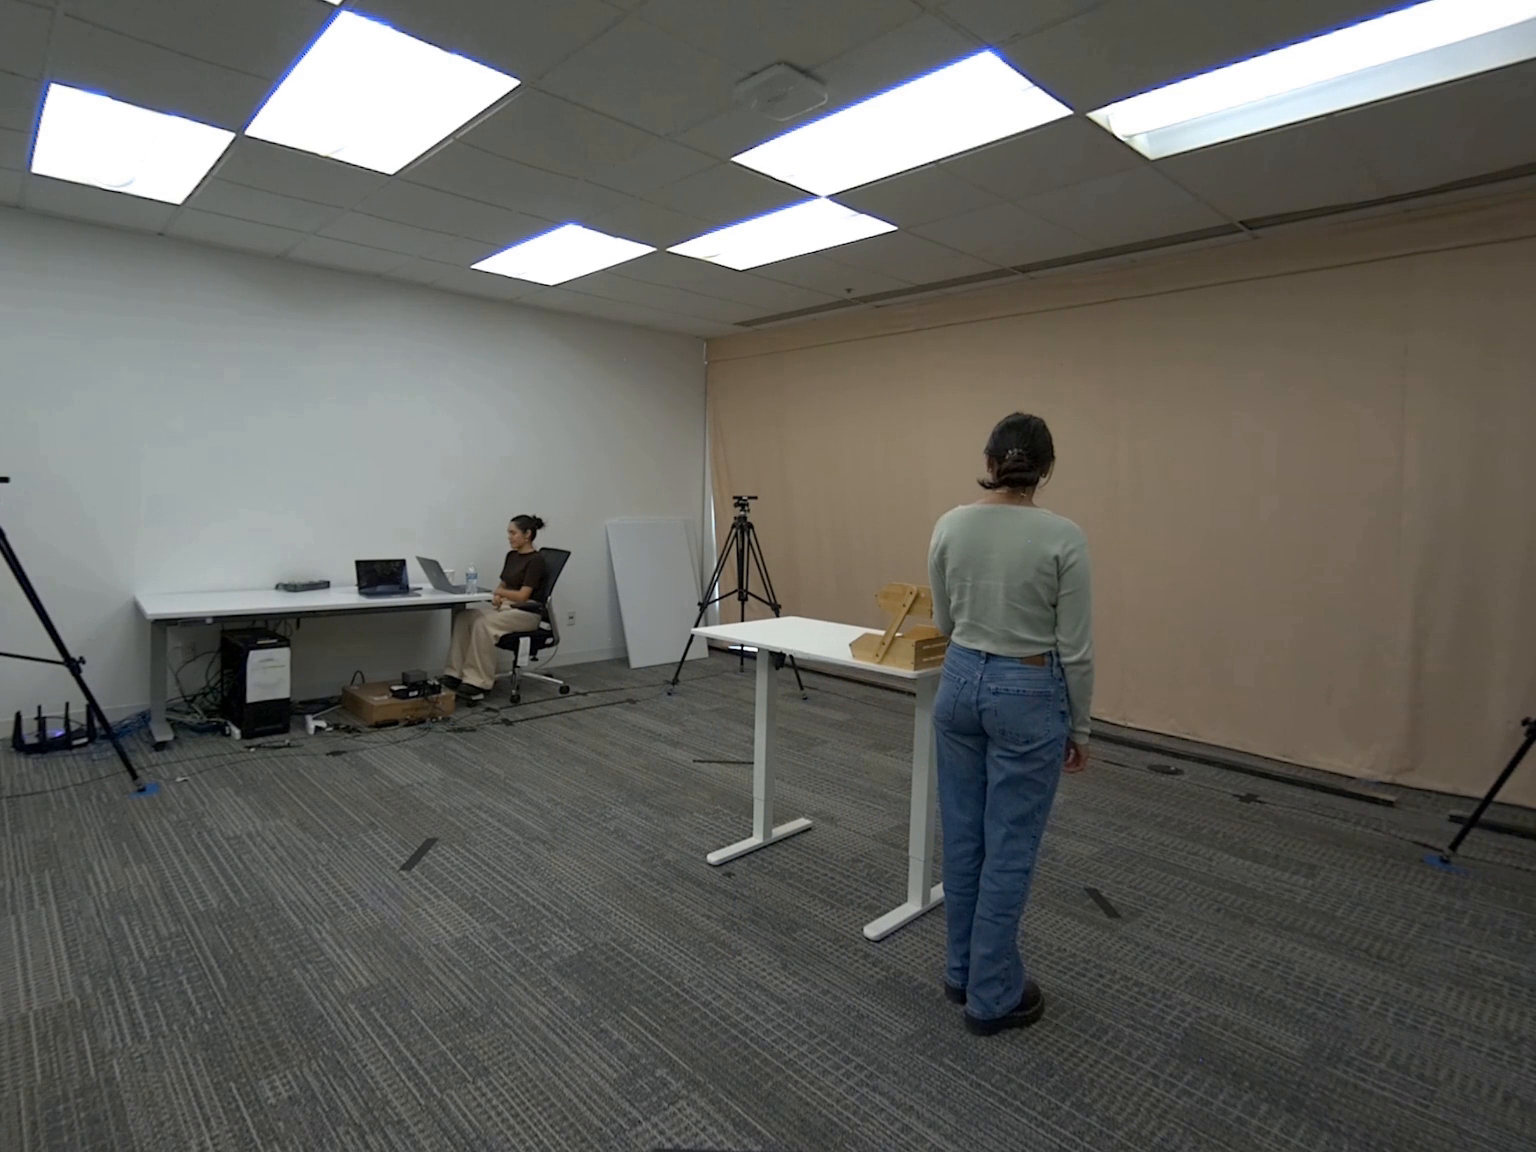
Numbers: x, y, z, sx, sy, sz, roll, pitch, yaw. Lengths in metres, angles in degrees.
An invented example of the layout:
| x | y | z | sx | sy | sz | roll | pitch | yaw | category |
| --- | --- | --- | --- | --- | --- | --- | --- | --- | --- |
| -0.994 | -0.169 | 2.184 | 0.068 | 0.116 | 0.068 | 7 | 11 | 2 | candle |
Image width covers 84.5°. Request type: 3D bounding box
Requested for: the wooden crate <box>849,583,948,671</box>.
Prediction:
| x | y | z | sx | sy | sz | roll | pitch | yaw | category |
| --- | --- | --- | --- | --- | --- | --- | --- | --- | --- |
| 0.470 | 0.142 | 2.718 | 0.310 | 0.272 | 0.317 | 7 | 6 | 44 | wooden crate |
